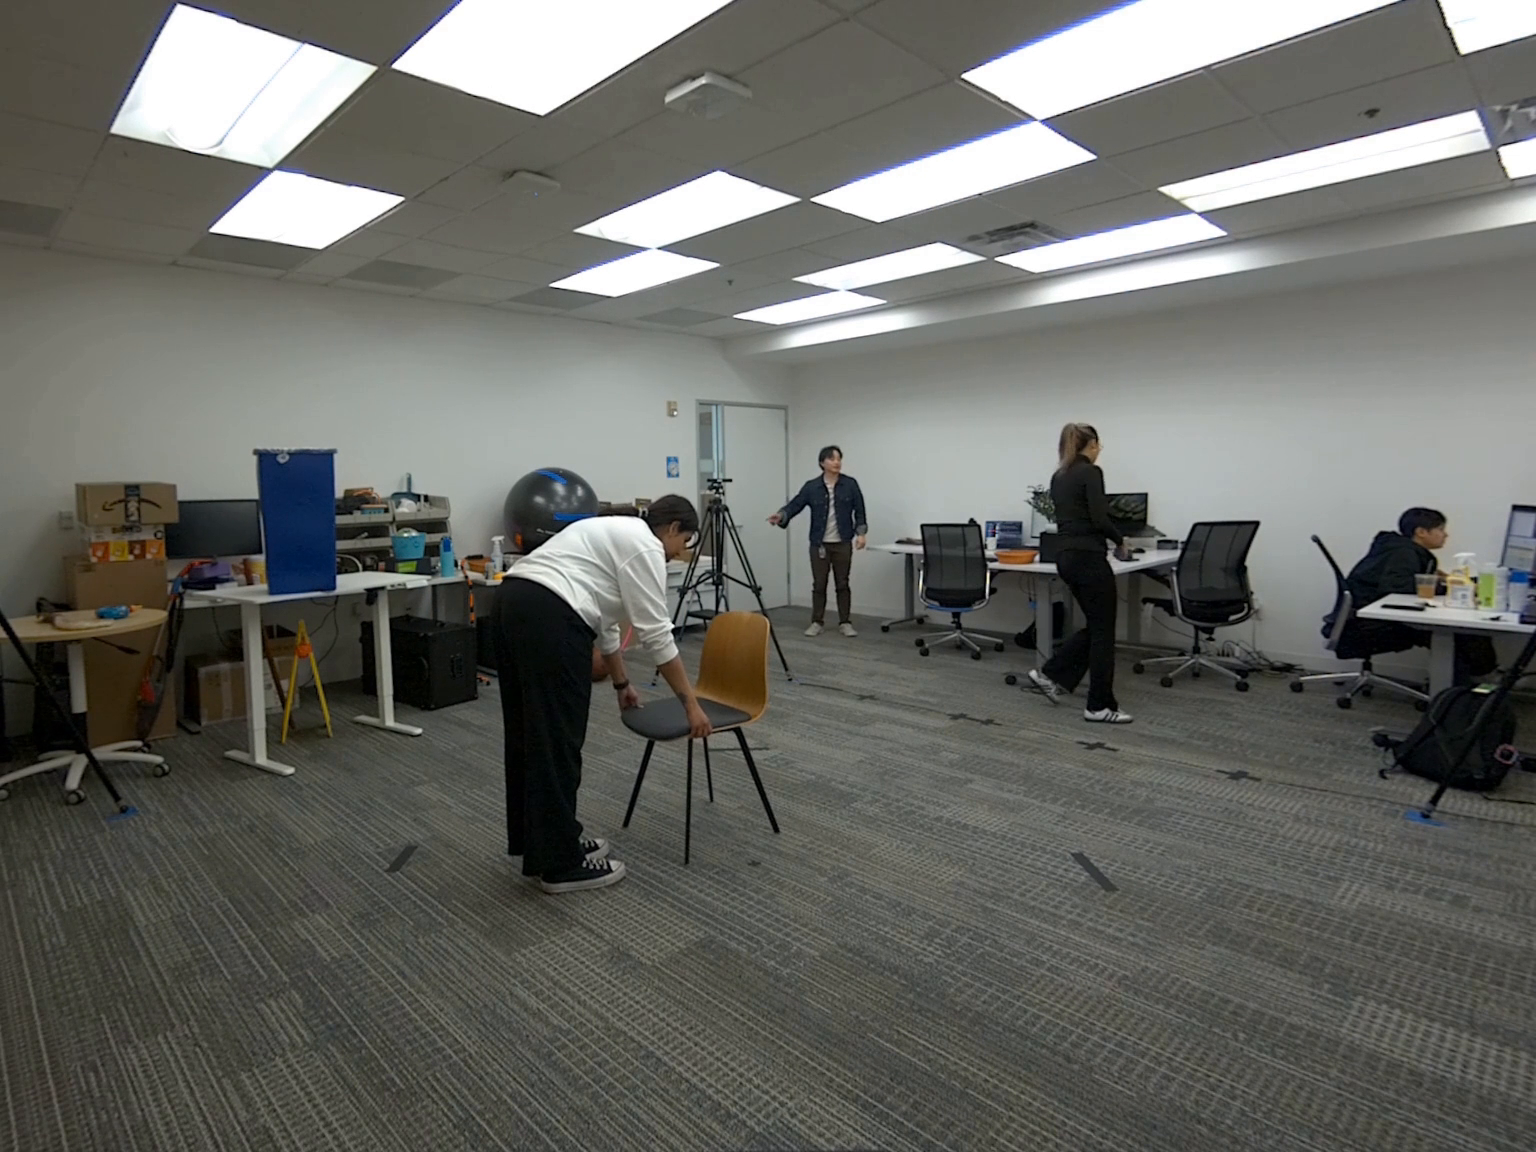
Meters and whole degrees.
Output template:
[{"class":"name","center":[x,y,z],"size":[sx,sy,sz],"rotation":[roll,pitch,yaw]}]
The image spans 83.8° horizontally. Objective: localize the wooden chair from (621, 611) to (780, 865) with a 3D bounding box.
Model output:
[{"class":"wooden chair","center":[-0.279,0.588,3.380],"size":[0.508,0.877,0.492],"rotation":[2,1,-39]}]
